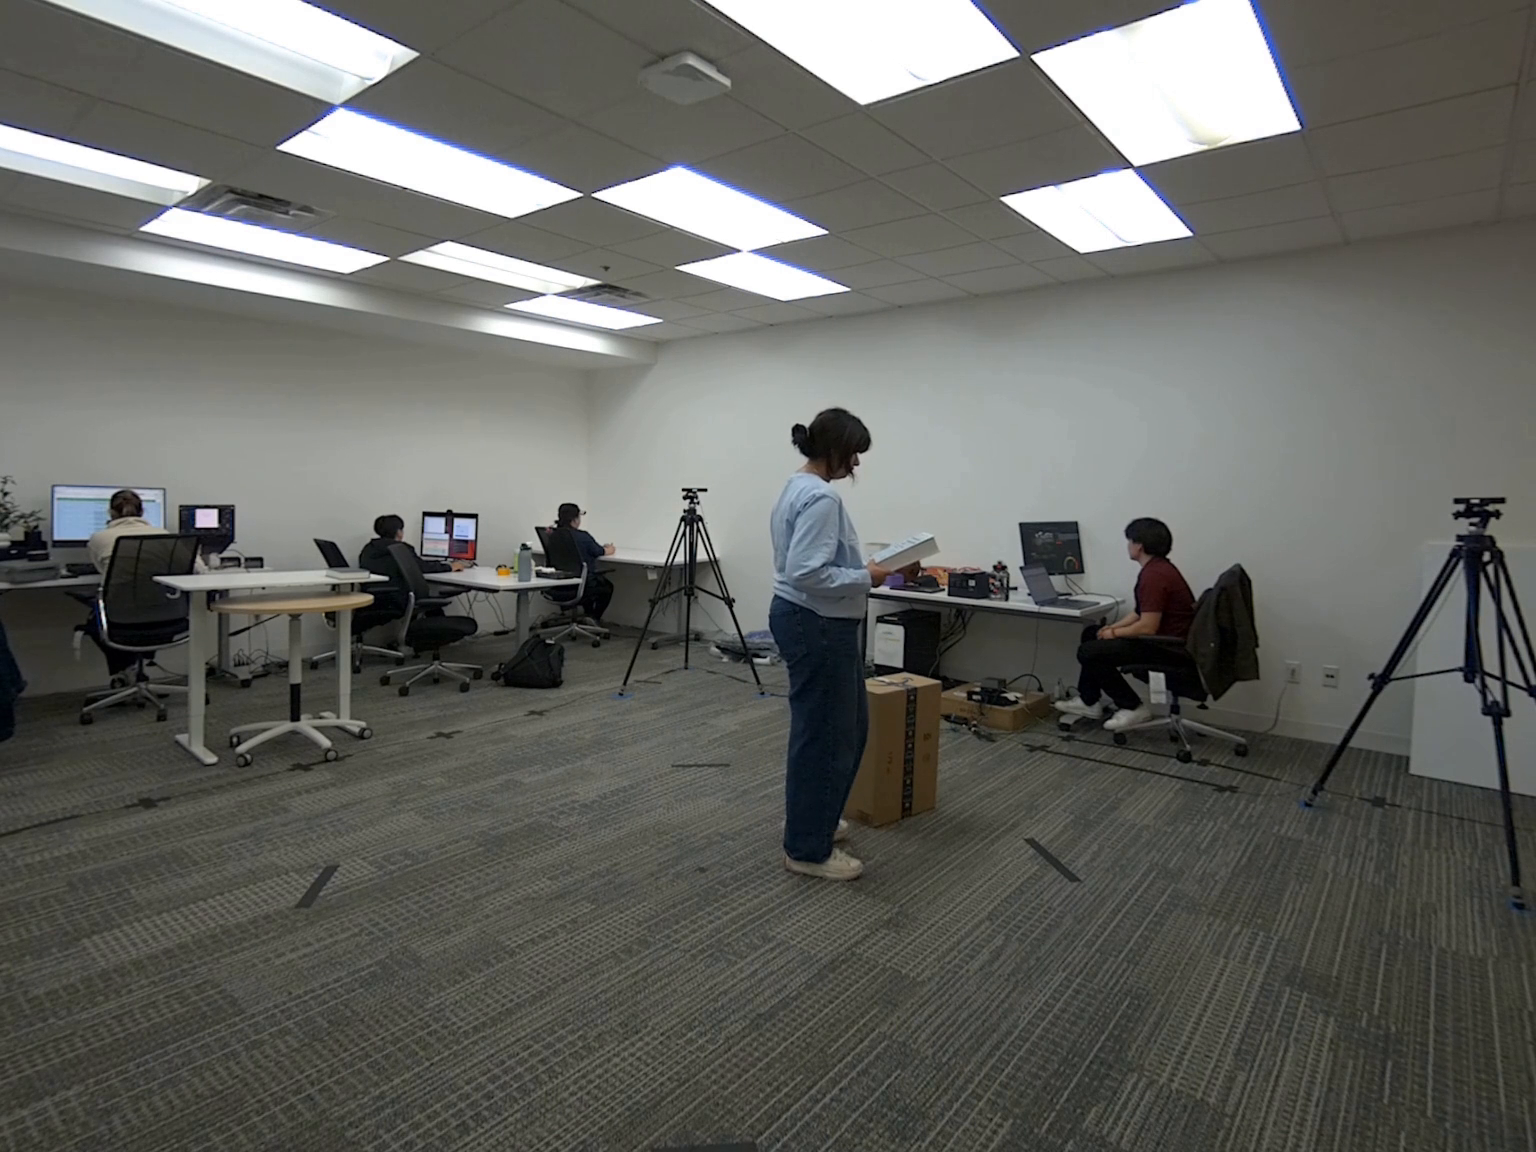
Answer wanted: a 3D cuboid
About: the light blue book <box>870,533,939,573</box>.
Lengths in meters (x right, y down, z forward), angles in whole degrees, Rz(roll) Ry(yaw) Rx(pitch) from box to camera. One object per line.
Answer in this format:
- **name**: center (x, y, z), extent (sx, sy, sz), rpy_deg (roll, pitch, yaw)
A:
- **light blue book**: center (0.468, -0.075, 3.073), extent (0.261, 0.058, 0.193), rpy_deg (-24, 9, 2)
